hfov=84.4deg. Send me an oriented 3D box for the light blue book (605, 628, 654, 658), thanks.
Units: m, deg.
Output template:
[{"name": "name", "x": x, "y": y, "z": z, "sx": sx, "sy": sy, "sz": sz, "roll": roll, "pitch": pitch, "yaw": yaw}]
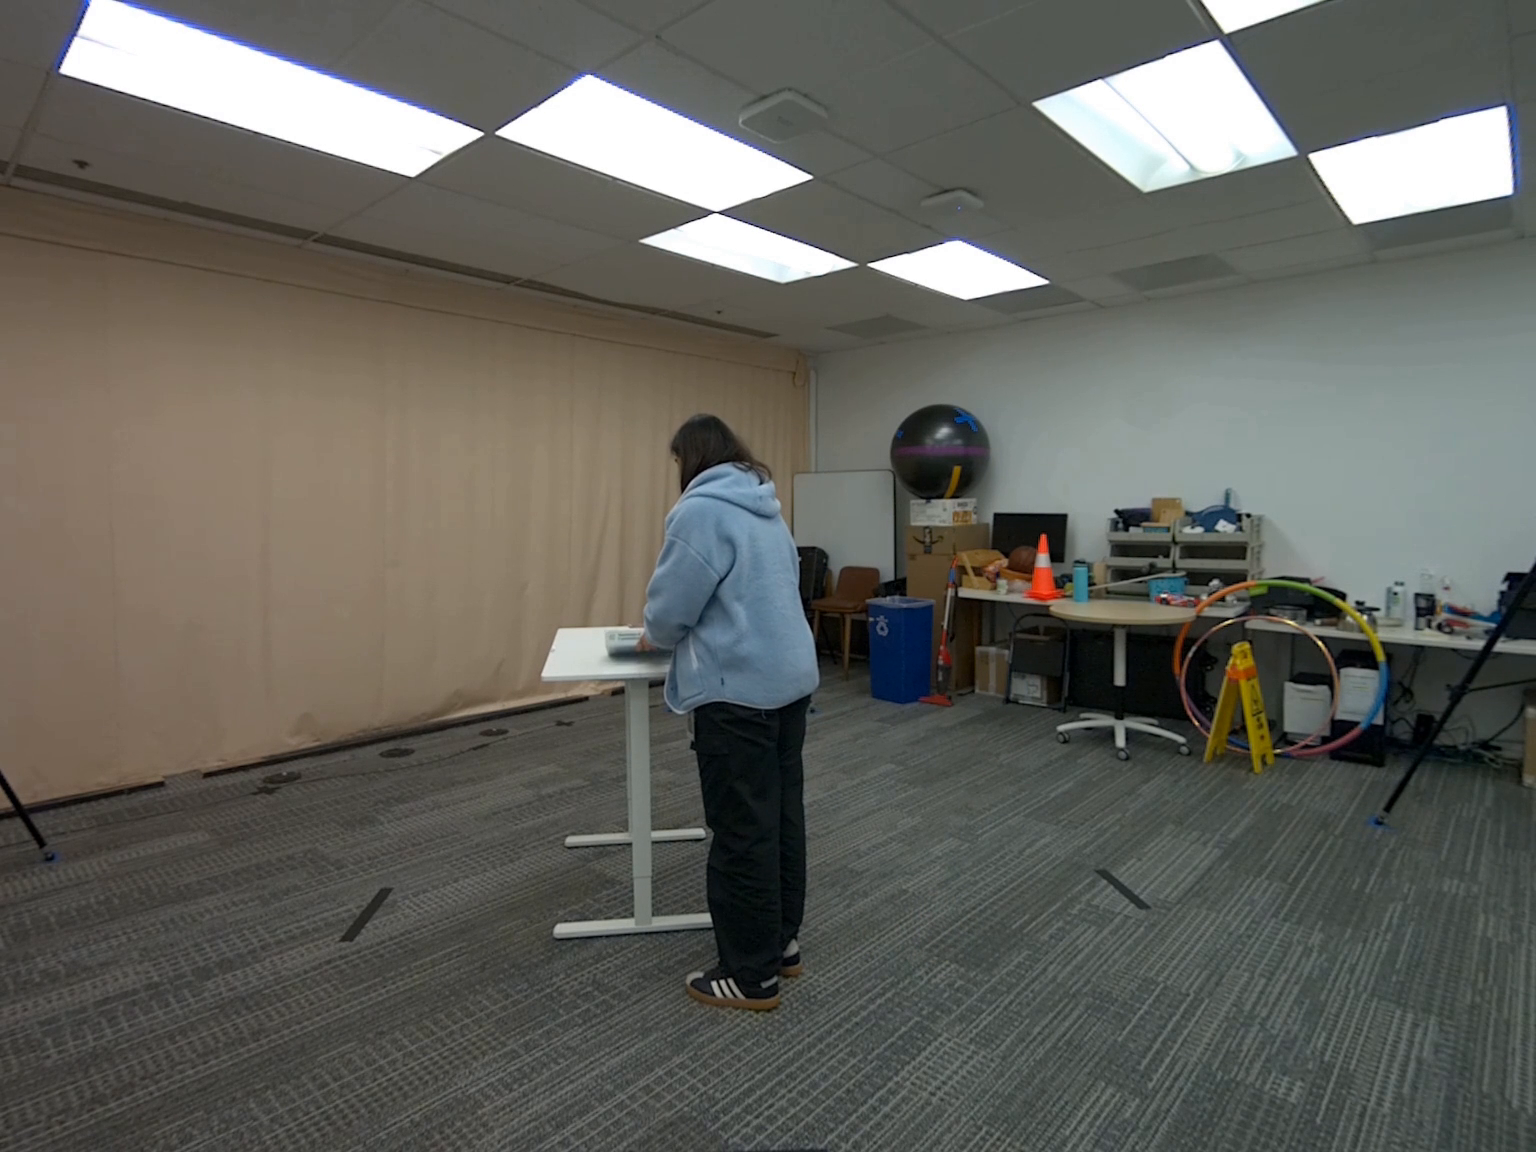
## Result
[{"name": "light blue book", "x": -0.411, "y": 0.224, "z": 2.839, "sx": 0.260, "sy": 0.059, "sz": 0.190, "roll": -1, "pitch": -14, "yaw": -3}]
